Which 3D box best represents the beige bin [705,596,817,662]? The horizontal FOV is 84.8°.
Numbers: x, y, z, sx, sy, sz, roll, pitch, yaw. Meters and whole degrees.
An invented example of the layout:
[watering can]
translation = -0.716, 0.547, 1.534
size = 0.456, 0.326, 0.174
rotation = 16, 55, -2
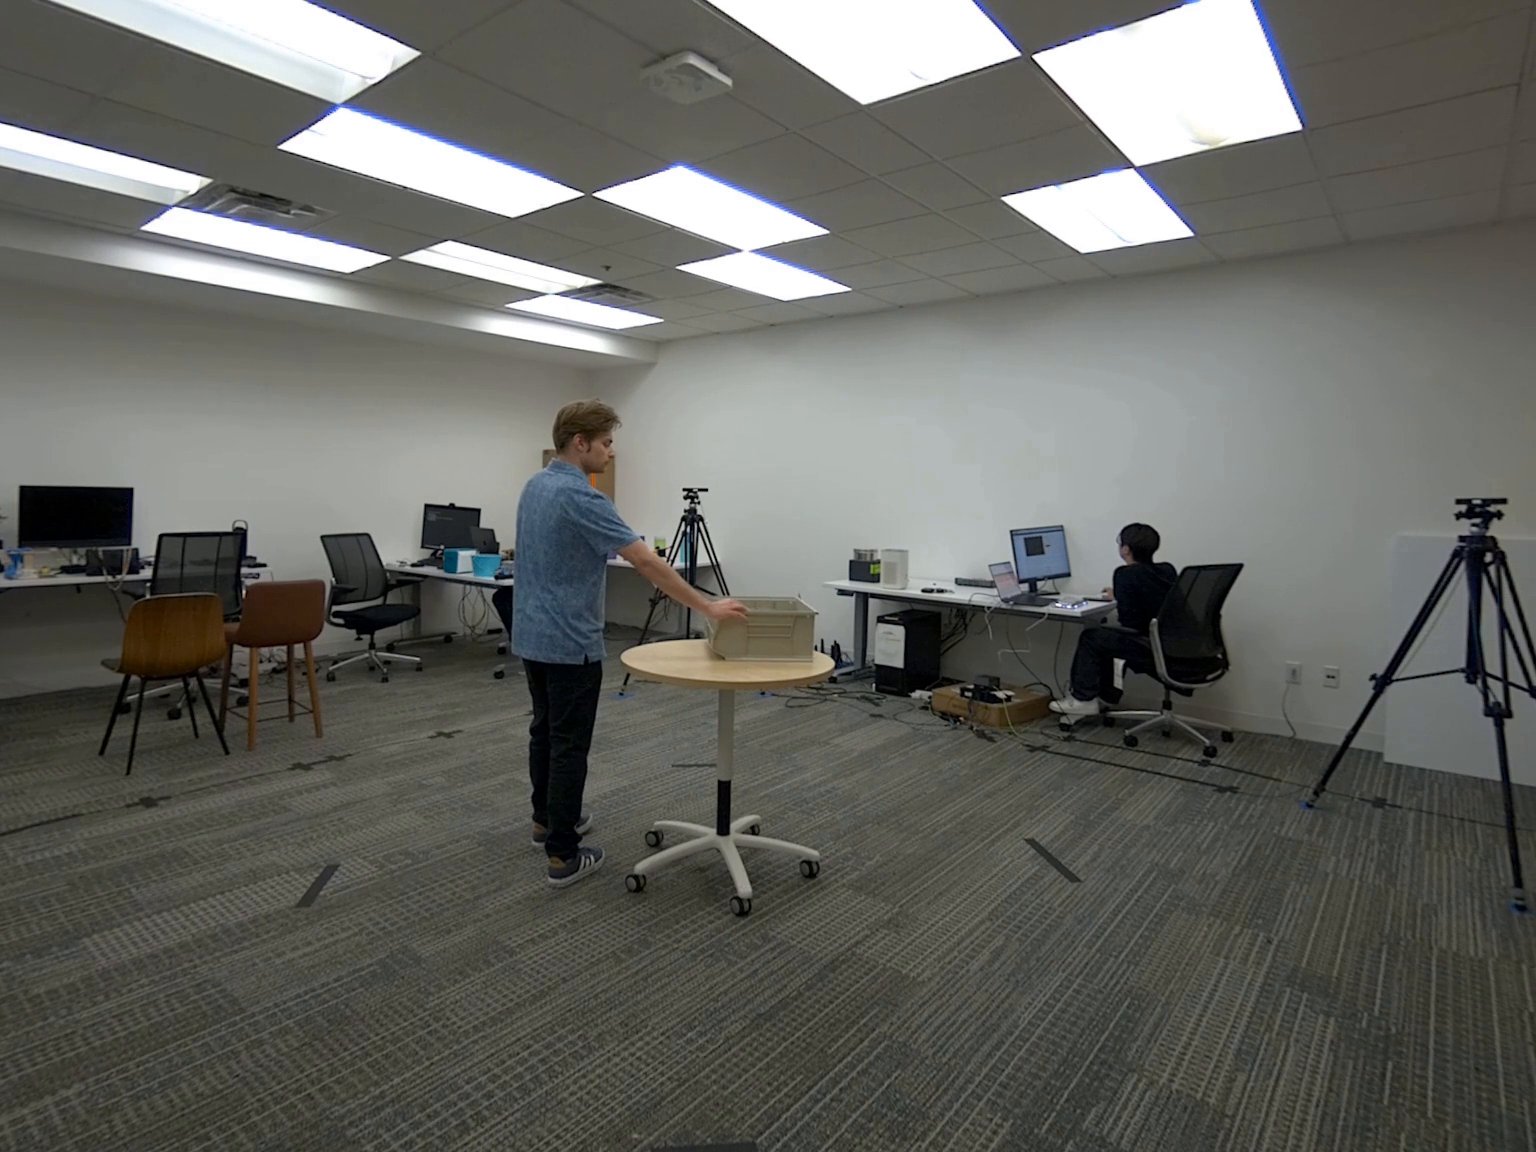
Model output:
[beige bin]
translation = -0.054, 0.190, 3.210
size = 0.375, 0.188, 0.426
rotation = 4, 4, -7
